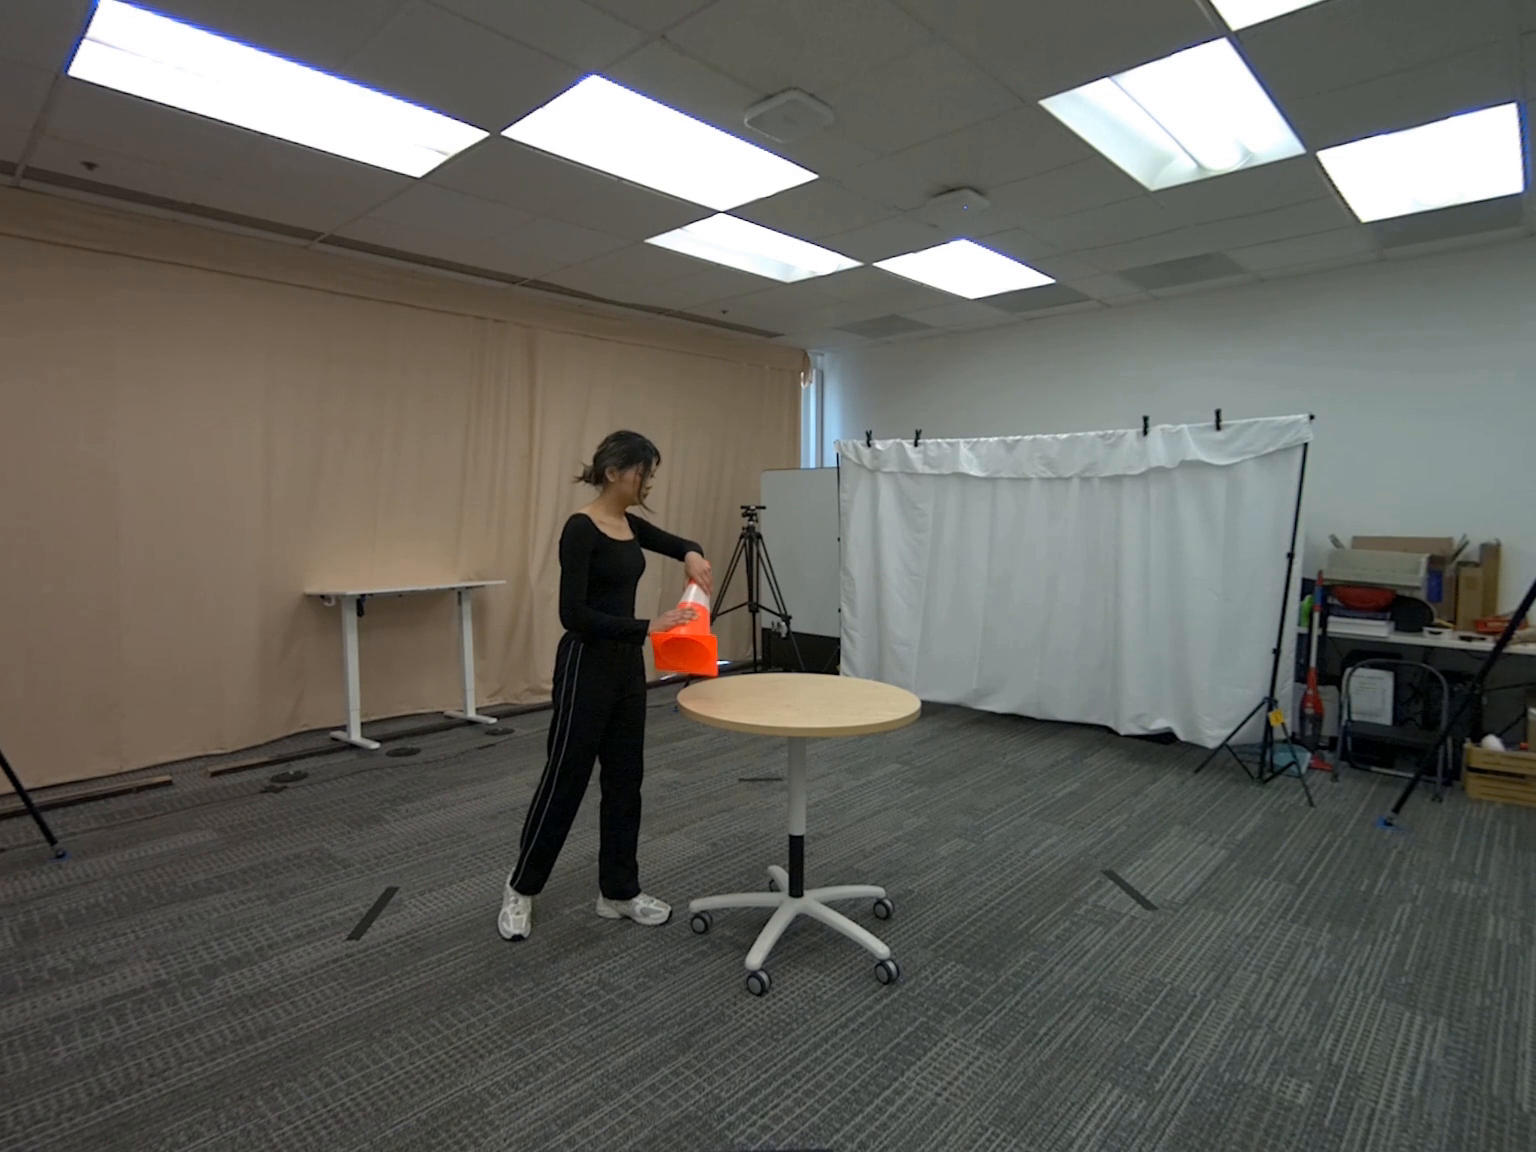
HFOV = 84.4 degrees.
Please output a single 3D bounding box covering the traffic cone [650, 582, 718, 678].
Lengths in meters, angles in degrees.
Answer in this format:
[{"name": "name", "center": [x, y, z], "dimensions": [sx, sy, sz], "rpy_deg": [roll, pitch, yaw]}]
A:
[{"name": "traffic cone", "center": [-0.232, 0.099, 2.683], "dimensions": [0.204, 0.389, 0.201], "rpy_deg": [5, -41, 3]}]
